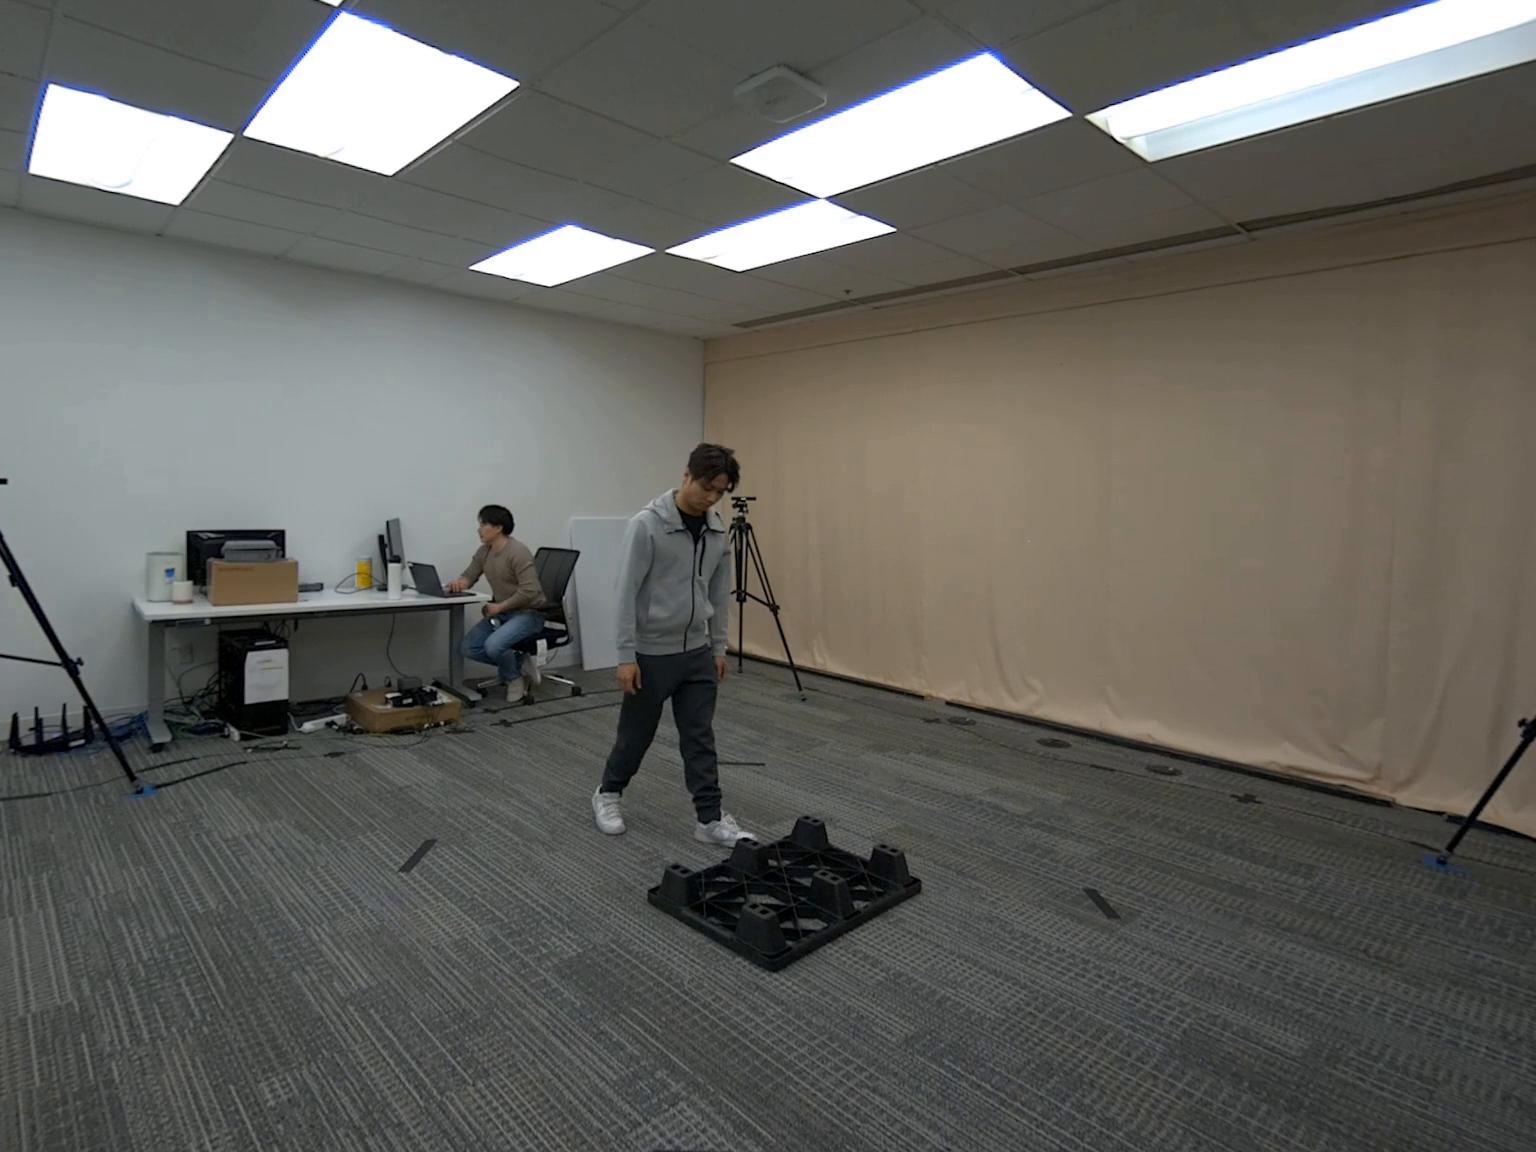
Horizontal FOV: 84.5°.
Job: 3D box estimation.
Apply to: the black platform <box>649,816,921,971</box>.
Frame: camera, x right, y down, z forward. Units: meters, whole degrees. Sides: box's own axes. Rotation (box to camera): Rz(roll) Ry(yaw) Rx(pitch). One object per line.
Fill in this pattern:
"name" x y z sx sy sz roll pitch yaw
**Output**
"black platform" 0.063 1.061 2.944 0.620 0.143 0.787 6 7 44
